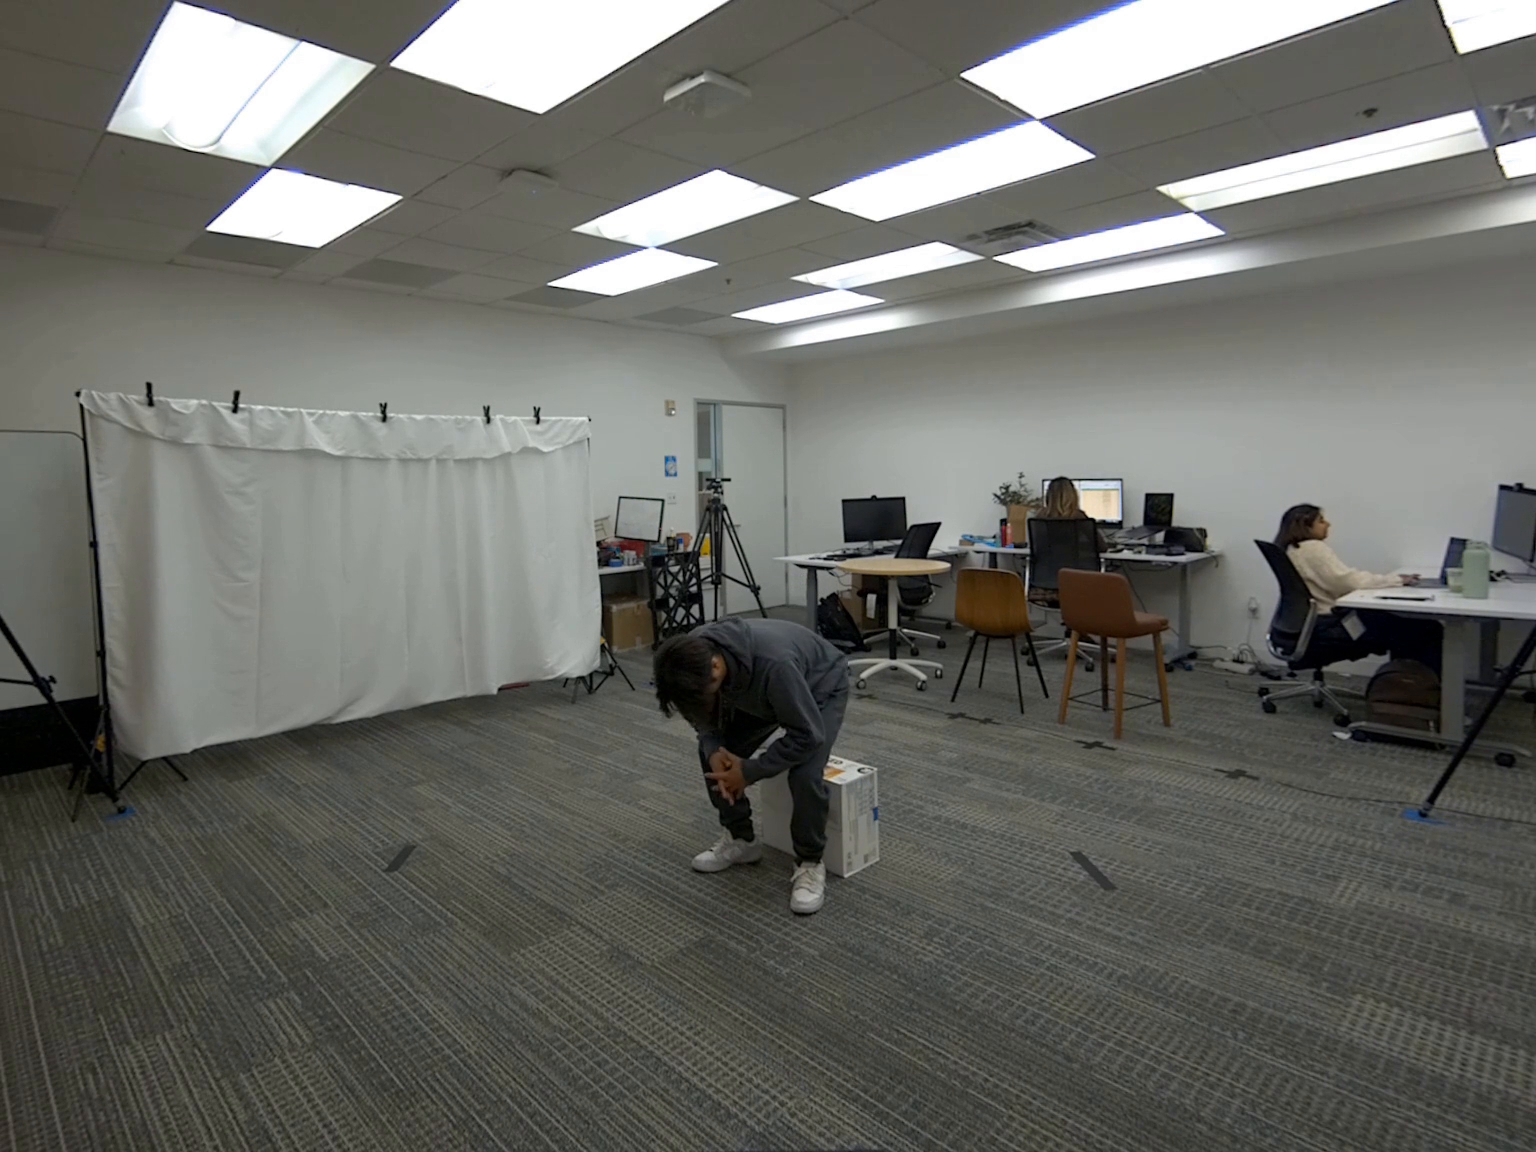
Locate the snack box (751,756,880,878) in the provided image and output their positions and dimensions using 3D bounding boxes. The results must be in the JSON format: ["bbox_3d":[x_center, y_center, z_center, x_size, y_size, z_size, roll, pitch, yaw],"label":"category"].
[{"bbox_3d":[0.191,0.862,3.180,0.200,0.339,0.418,-7,8,-44],"label":"snack box"}]
